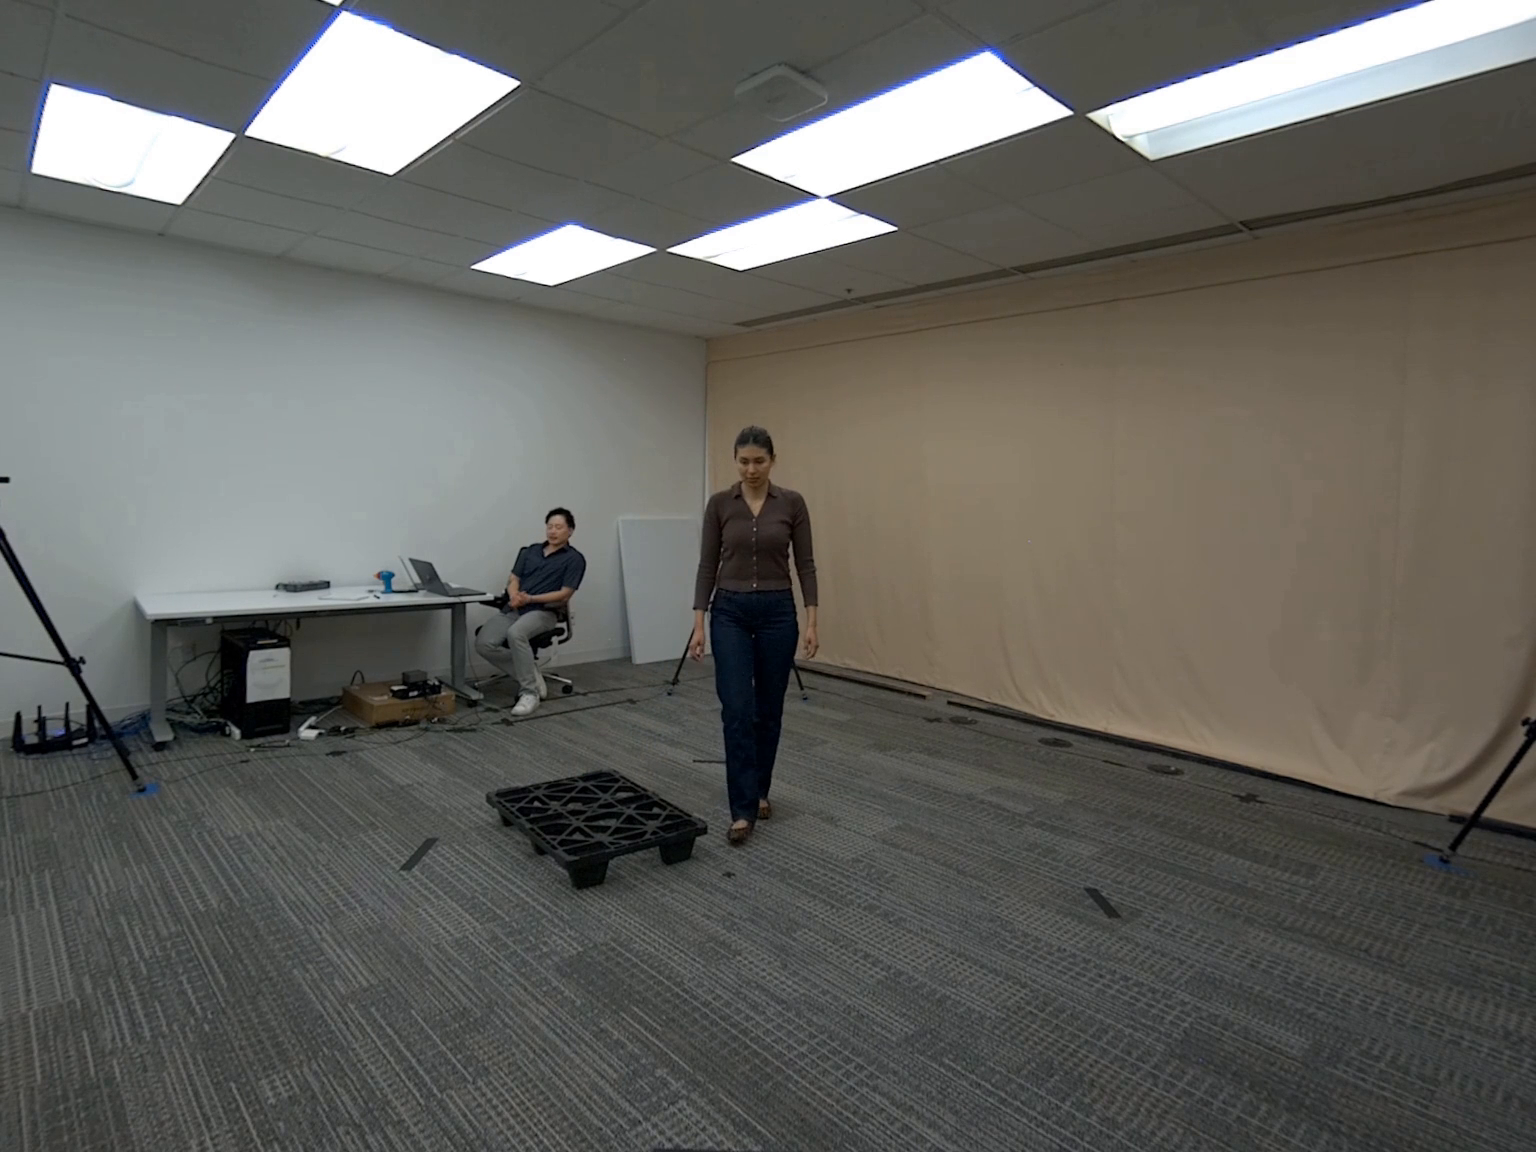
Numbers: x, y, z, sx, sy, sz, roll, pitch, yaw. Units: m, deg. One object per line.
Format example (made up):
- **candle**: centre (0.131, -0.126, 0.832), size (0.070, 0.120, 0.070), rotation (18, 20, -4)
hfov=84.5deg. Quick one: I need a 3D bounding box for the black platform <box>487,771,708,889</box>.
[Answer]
- **black platform**: centre (-0.711, 0.997, 3.383), size (0.591, 0.143, 0.826), rotation (-2, 6, -37)
